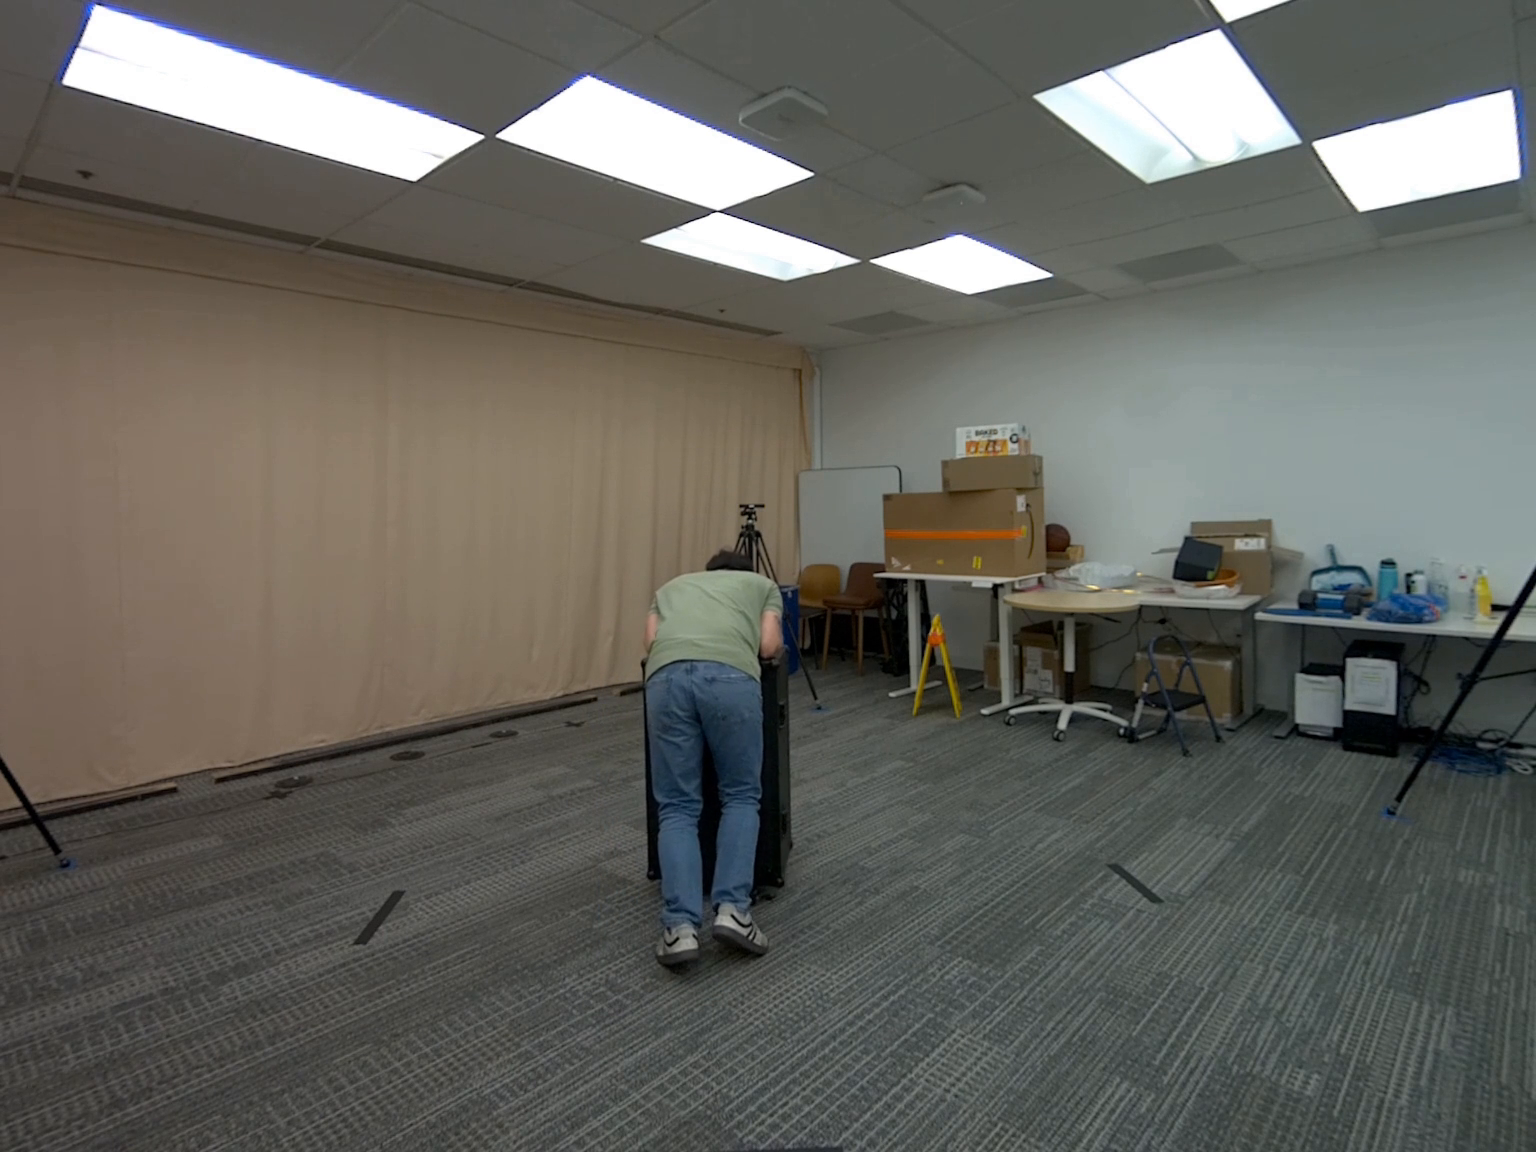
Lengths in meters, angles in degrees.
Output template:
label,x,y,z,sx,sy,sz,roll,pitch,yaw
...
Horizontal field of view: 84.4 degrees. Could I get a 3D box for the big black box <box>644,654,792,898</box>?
label,x,y,z,sx,sy,sz,roll,pitch,yaw
big black box,-0.175,0.714,3.118,0.527,0.860,0.392,-1,2,10
